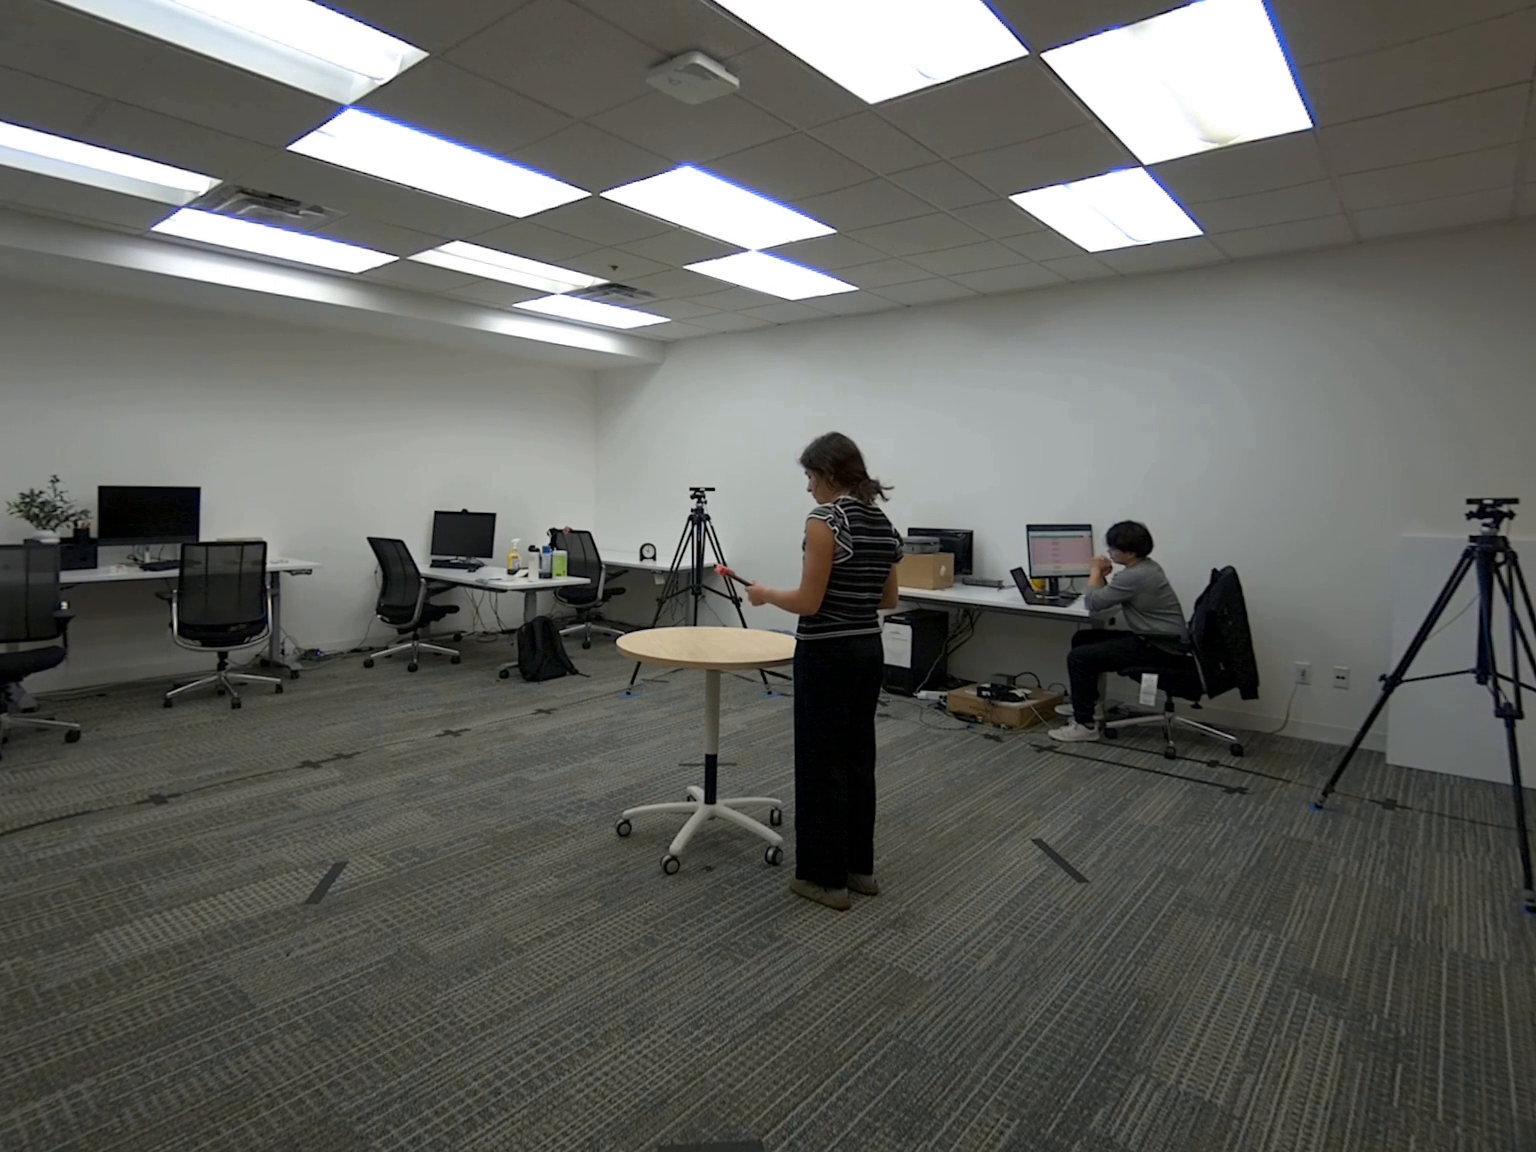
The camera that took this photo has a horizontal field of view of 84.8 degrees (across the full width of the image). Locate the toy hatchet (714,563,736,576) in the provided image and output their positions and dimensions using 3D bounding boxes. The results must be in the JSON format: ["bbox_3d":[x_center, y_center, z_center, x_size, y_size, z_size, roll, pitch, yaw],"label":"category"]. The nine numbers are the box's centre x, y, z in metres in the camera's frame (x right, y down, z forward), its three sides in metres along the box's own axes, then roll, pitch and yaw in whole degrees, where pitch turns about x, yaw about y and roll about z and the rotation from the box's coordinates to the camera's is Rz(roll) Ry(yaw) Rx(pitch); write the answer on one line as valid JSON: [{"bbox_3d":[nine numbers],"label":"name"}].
[{"bbox_3d":[-0.074,0.014,3.060,0.264,0.029,0.134,22,4,-18],"label":"toy hatchet"}]
